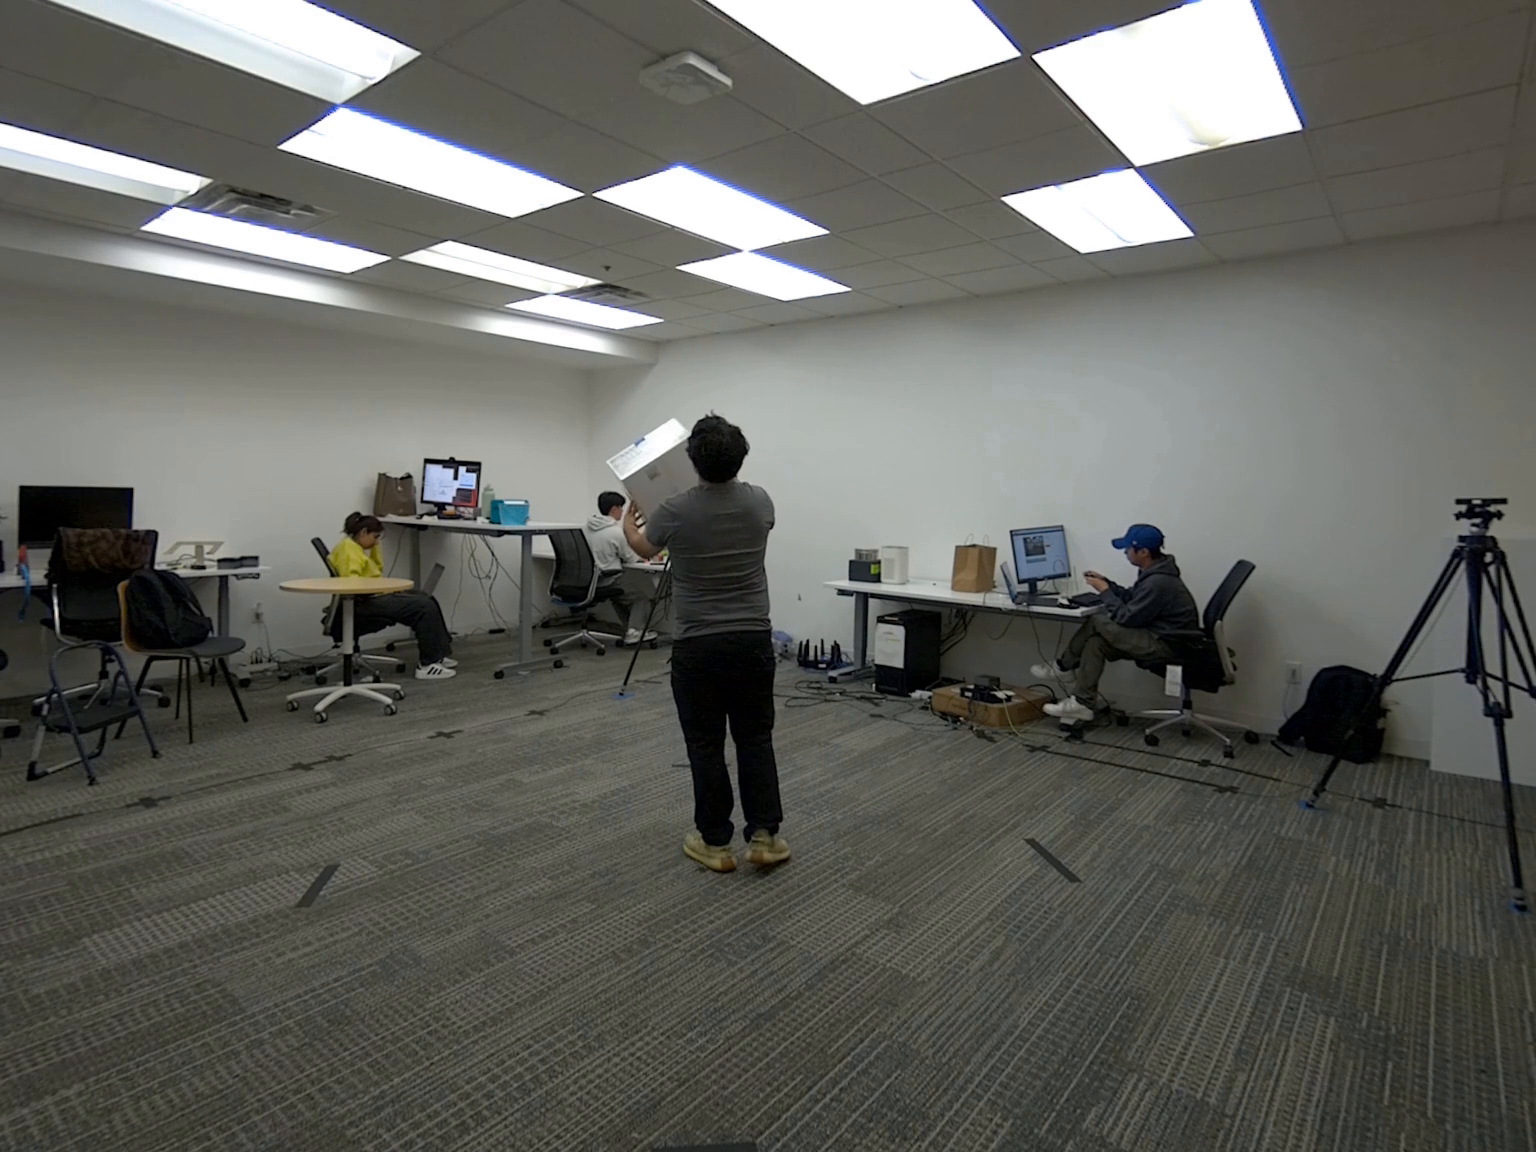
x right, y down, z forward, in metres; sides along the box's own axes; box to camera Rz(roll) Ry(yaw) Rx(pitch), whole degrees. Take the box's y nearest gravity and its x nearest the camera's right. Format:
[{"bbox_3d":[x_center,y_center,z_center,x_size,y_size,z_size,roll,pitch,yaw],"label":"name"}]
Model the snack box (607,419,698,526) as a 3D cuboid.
[{"bbox_3d":[-0.427,-0.387,3.577,0.339,0.389,0.214,-34,38,-6],"label":"snack box"}]
